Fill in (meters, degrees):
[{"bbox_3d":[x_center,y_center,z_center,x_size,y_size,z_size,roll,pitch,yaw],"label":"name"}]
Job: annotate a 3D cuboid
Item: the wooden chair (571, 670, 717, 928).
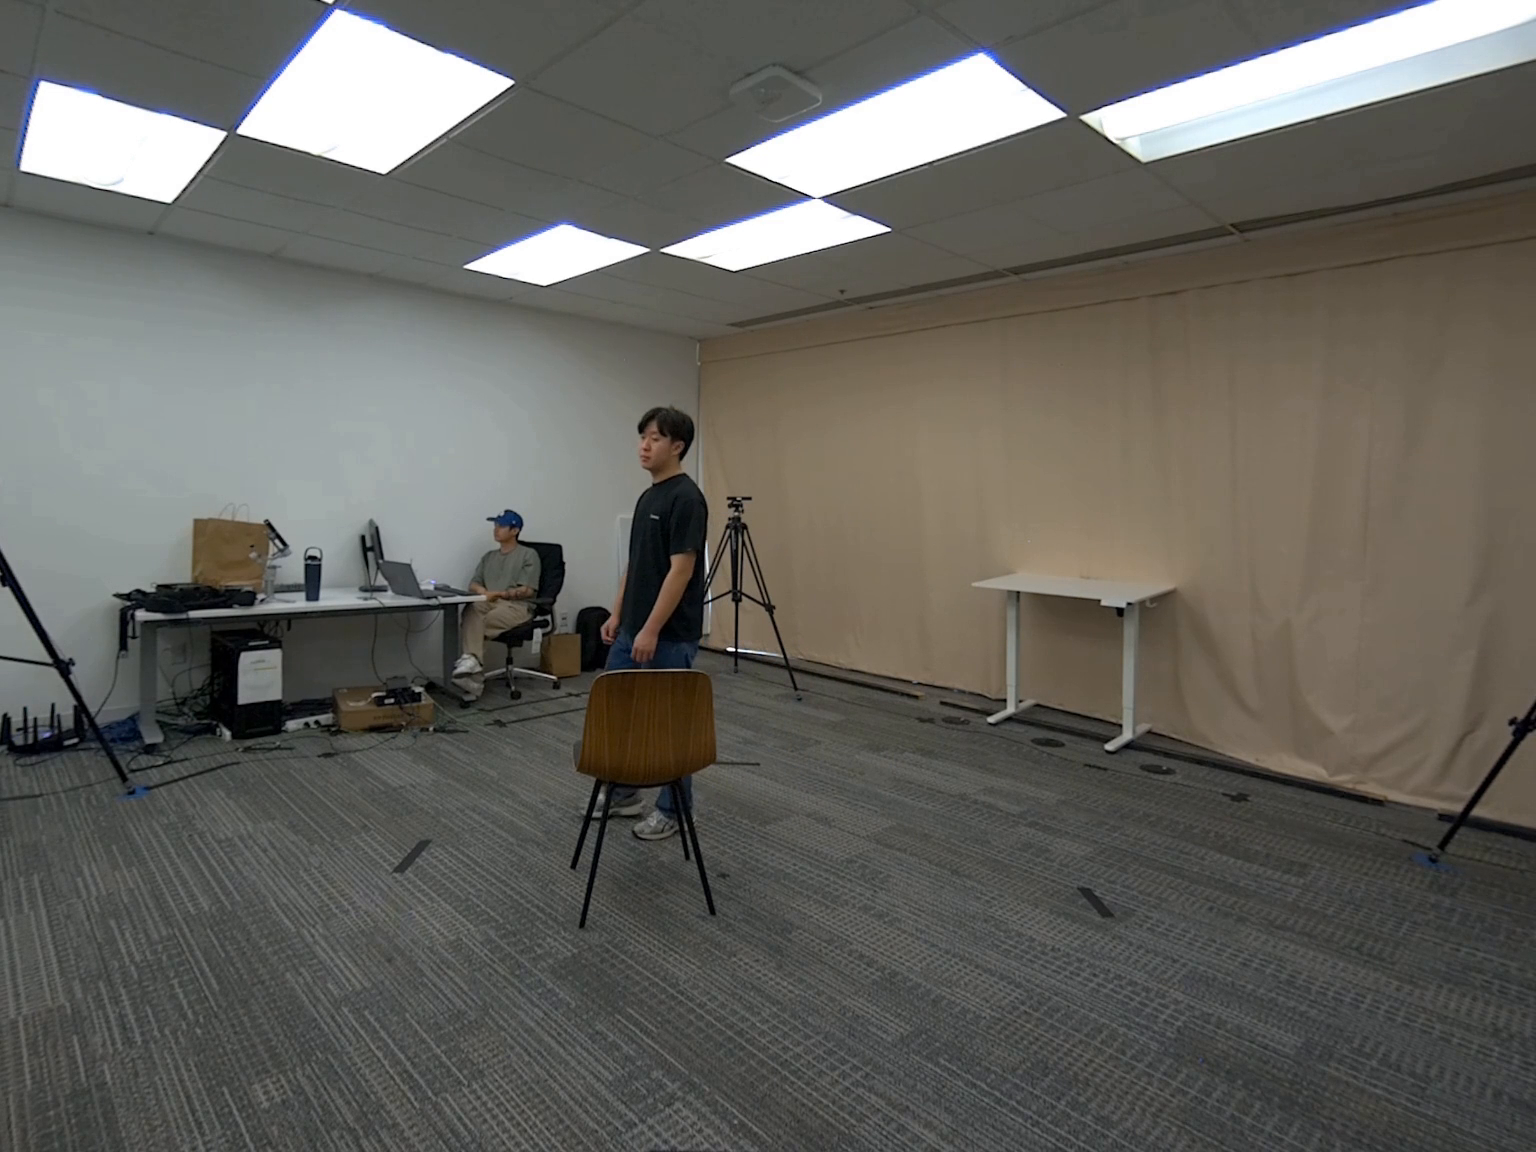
[{"bbox_3d":[-0.446,0.688,2.944,0.472,0.873,0.532,0,8,-16],"label":"wooden chair"}]
